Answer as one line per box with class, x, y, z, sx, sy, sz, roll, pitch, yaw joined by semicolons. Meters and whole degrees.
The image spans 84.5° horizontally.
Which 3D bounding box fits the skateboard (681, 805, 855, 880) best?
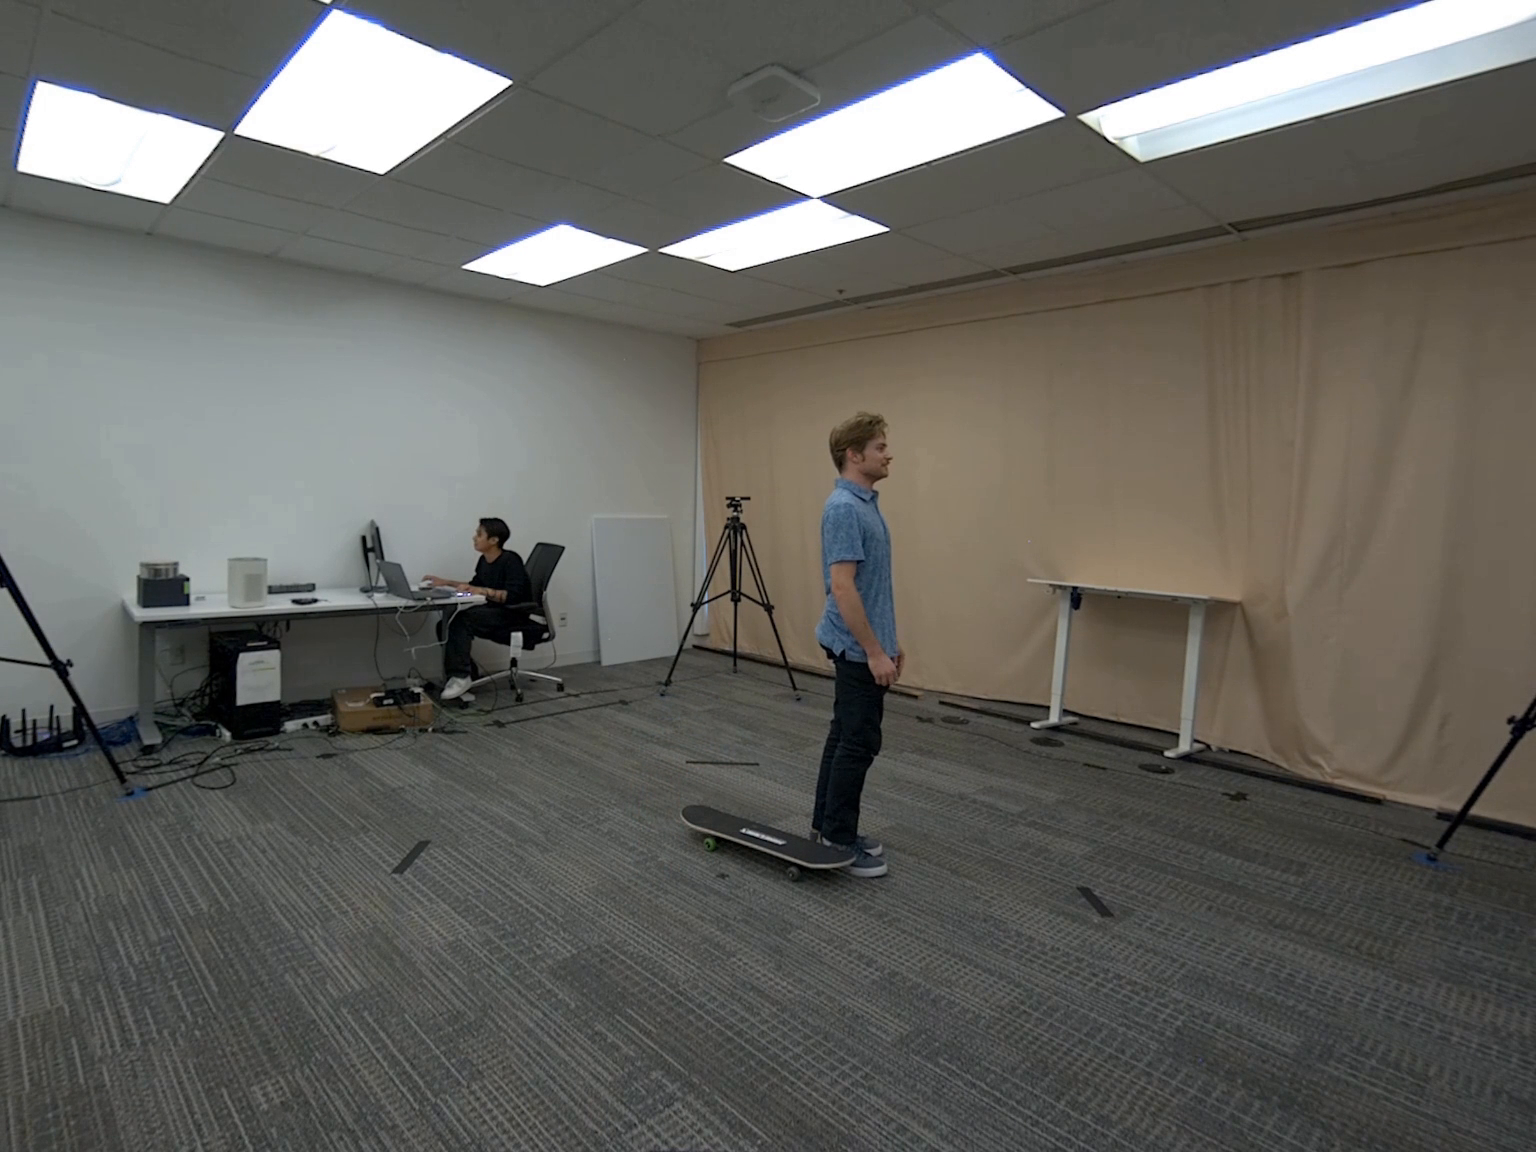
skateboard;-0.024;1.037;3.258;0.805;0.110;0.189;5;5;37
